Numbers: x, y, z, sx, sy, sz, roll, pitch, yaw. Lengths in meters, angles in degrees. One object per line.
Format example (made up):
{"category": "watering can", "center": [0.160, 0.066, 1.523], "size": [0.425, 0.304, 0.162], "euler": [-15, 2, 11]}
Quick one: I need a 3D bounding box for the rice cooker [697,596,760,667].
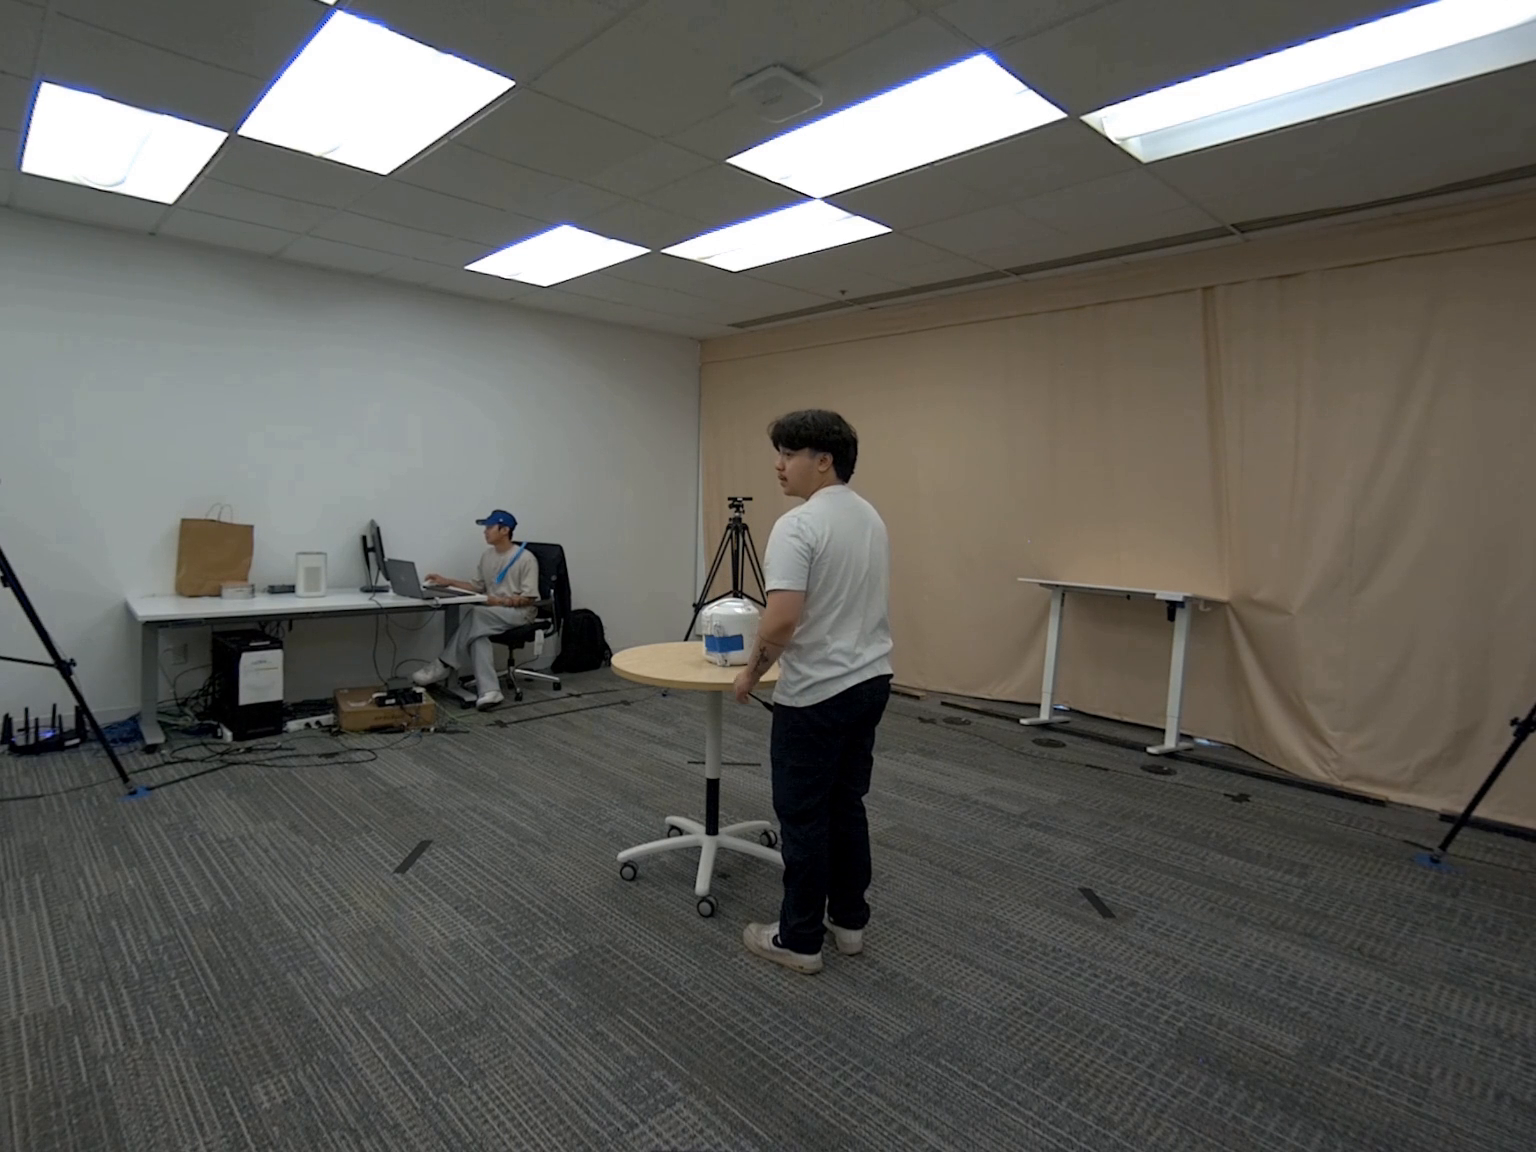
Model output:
{"category": "rice cooker", "center": [-0.149, 0.195, 3.080], "size": [0.216, 0.232, 0.222], "euler": [-1, 6, -28]}
